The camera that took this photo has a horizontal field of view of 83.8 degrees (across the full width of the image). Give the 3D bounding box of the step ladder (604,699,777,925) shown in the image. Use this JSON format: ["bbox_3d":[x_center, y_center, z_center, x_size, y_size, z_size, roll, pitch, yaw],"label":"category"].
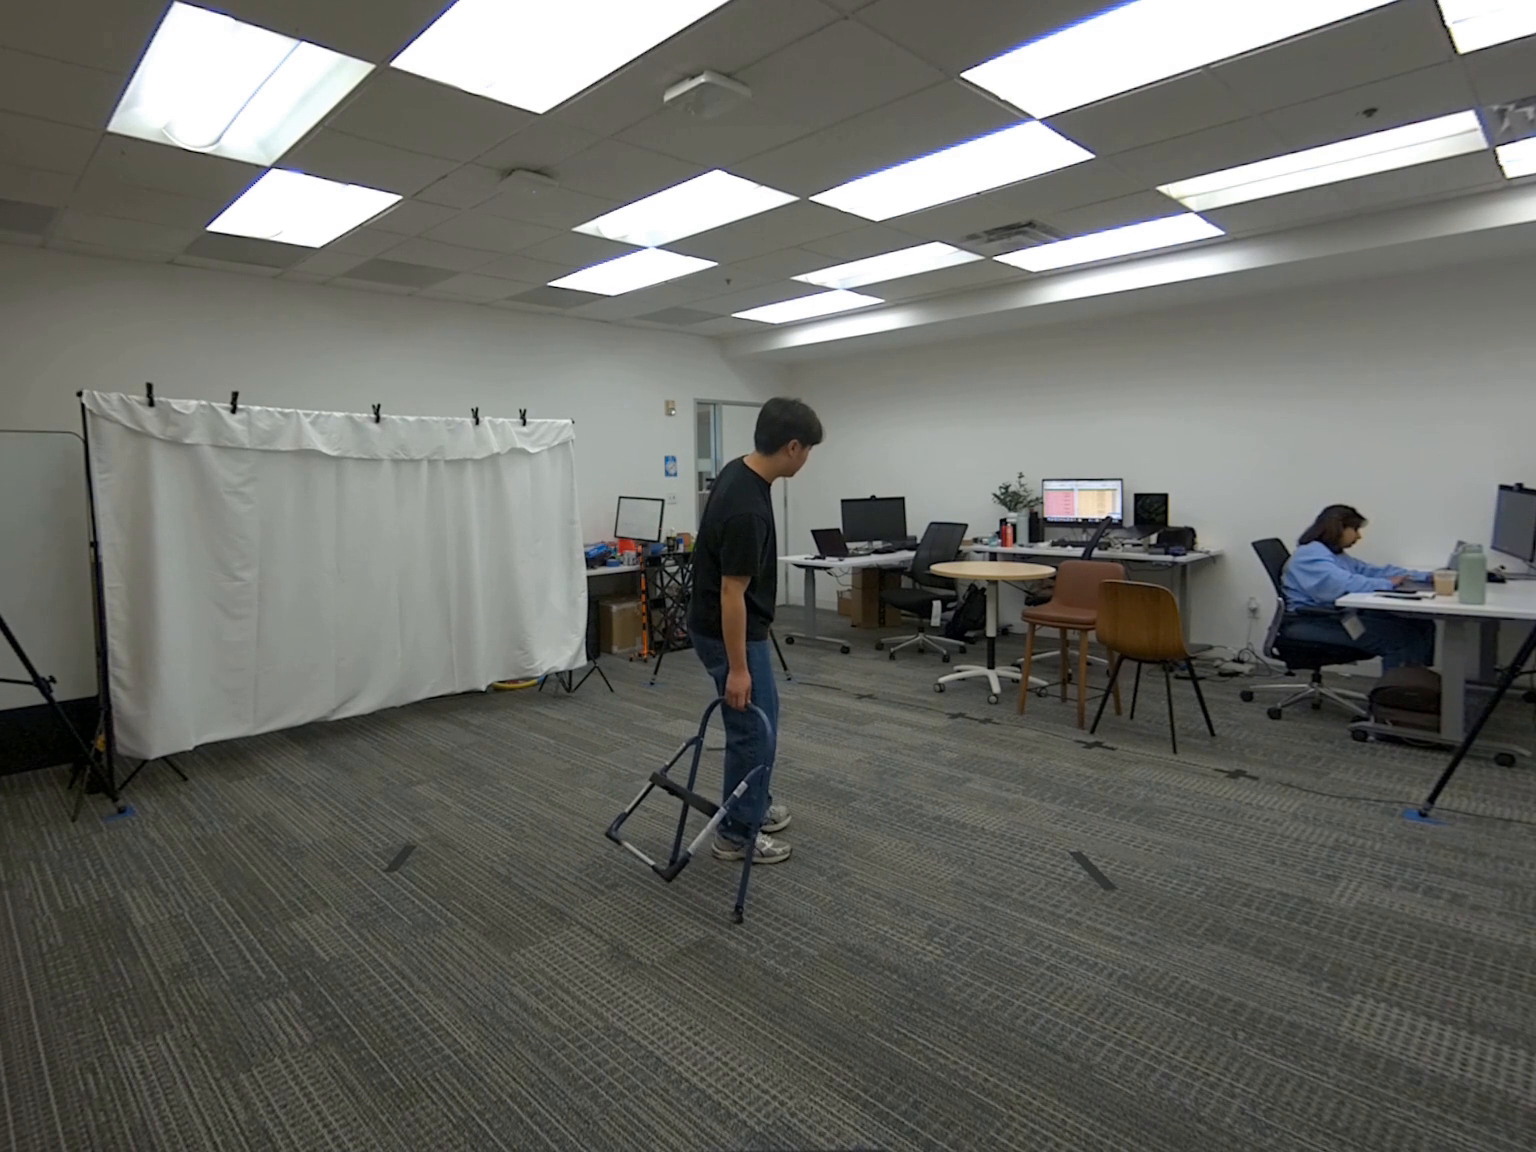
[{"bbox_3d":[-0.182,0.727,2.857,0.337,0.609,0.444,39,-18,-33],"label":"step ladder"}]
